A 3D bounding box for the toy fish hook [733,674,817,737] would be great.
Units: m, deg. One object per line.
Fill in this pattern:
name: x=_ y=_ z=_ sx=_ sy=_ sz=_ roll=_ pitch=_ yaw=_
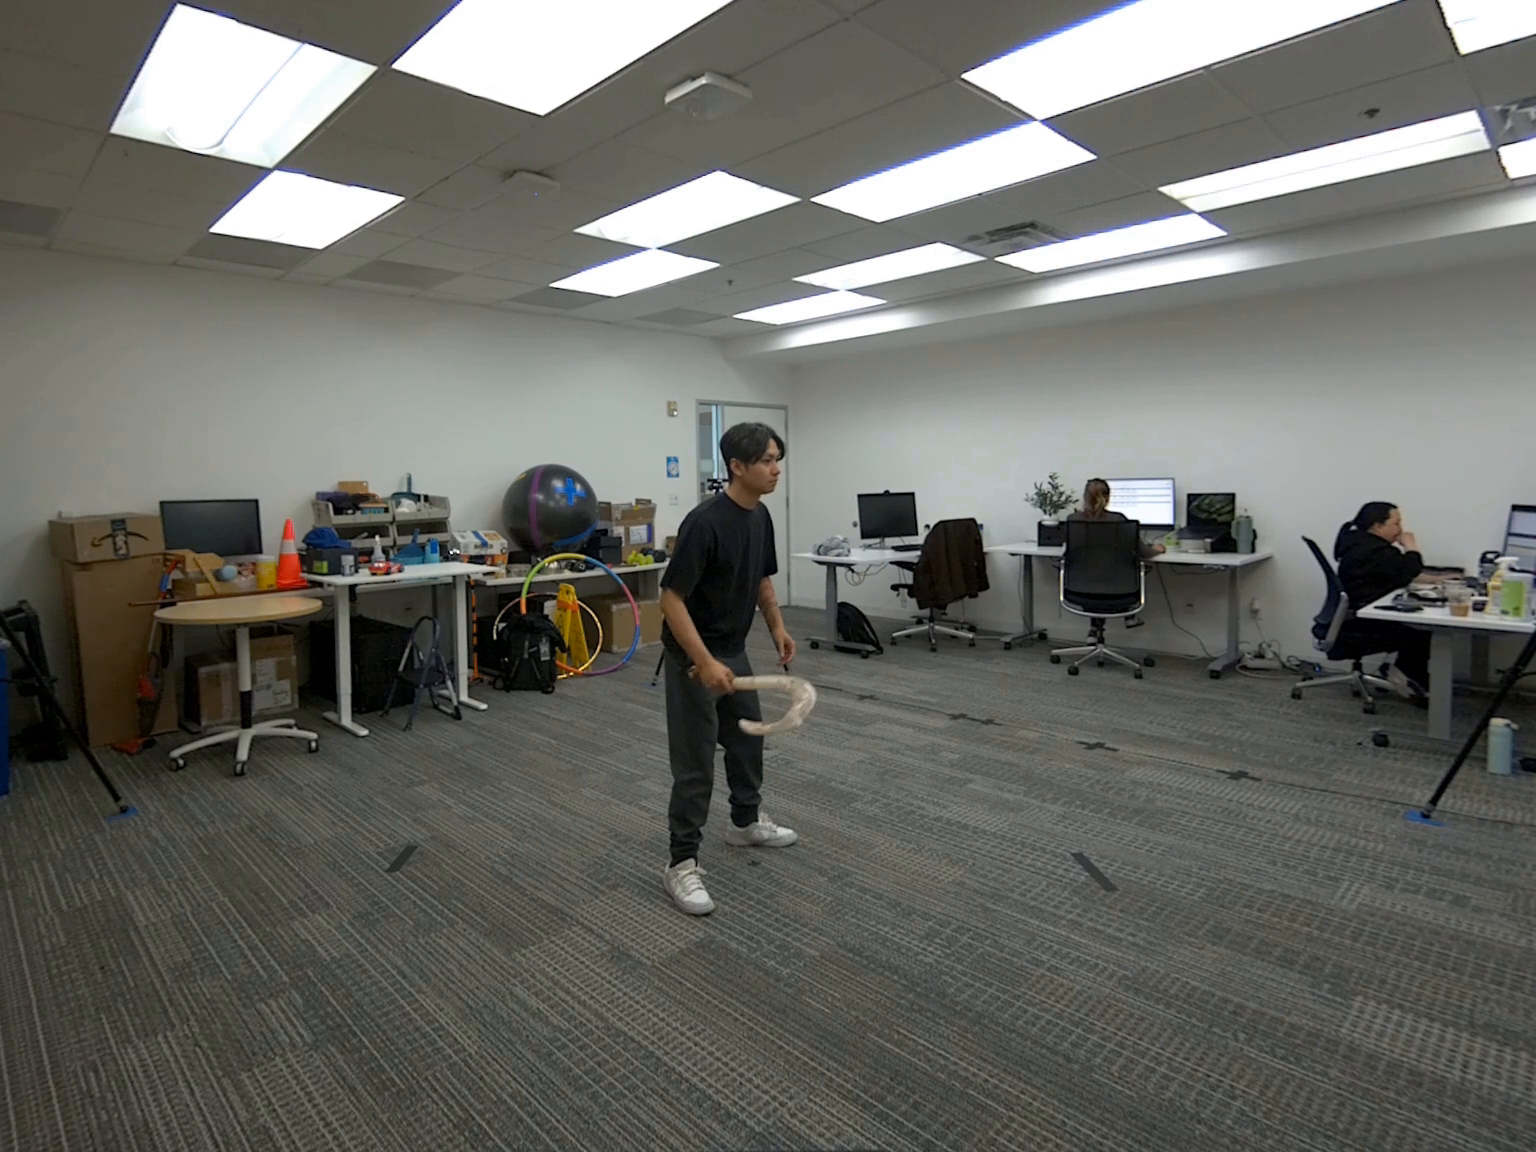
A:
toy fish hook: x=-0.085 y=0.355 z=2.637 sx=0.522 sy=0.047 sz=0.224 roll=6 pitch=40 yaw=42
